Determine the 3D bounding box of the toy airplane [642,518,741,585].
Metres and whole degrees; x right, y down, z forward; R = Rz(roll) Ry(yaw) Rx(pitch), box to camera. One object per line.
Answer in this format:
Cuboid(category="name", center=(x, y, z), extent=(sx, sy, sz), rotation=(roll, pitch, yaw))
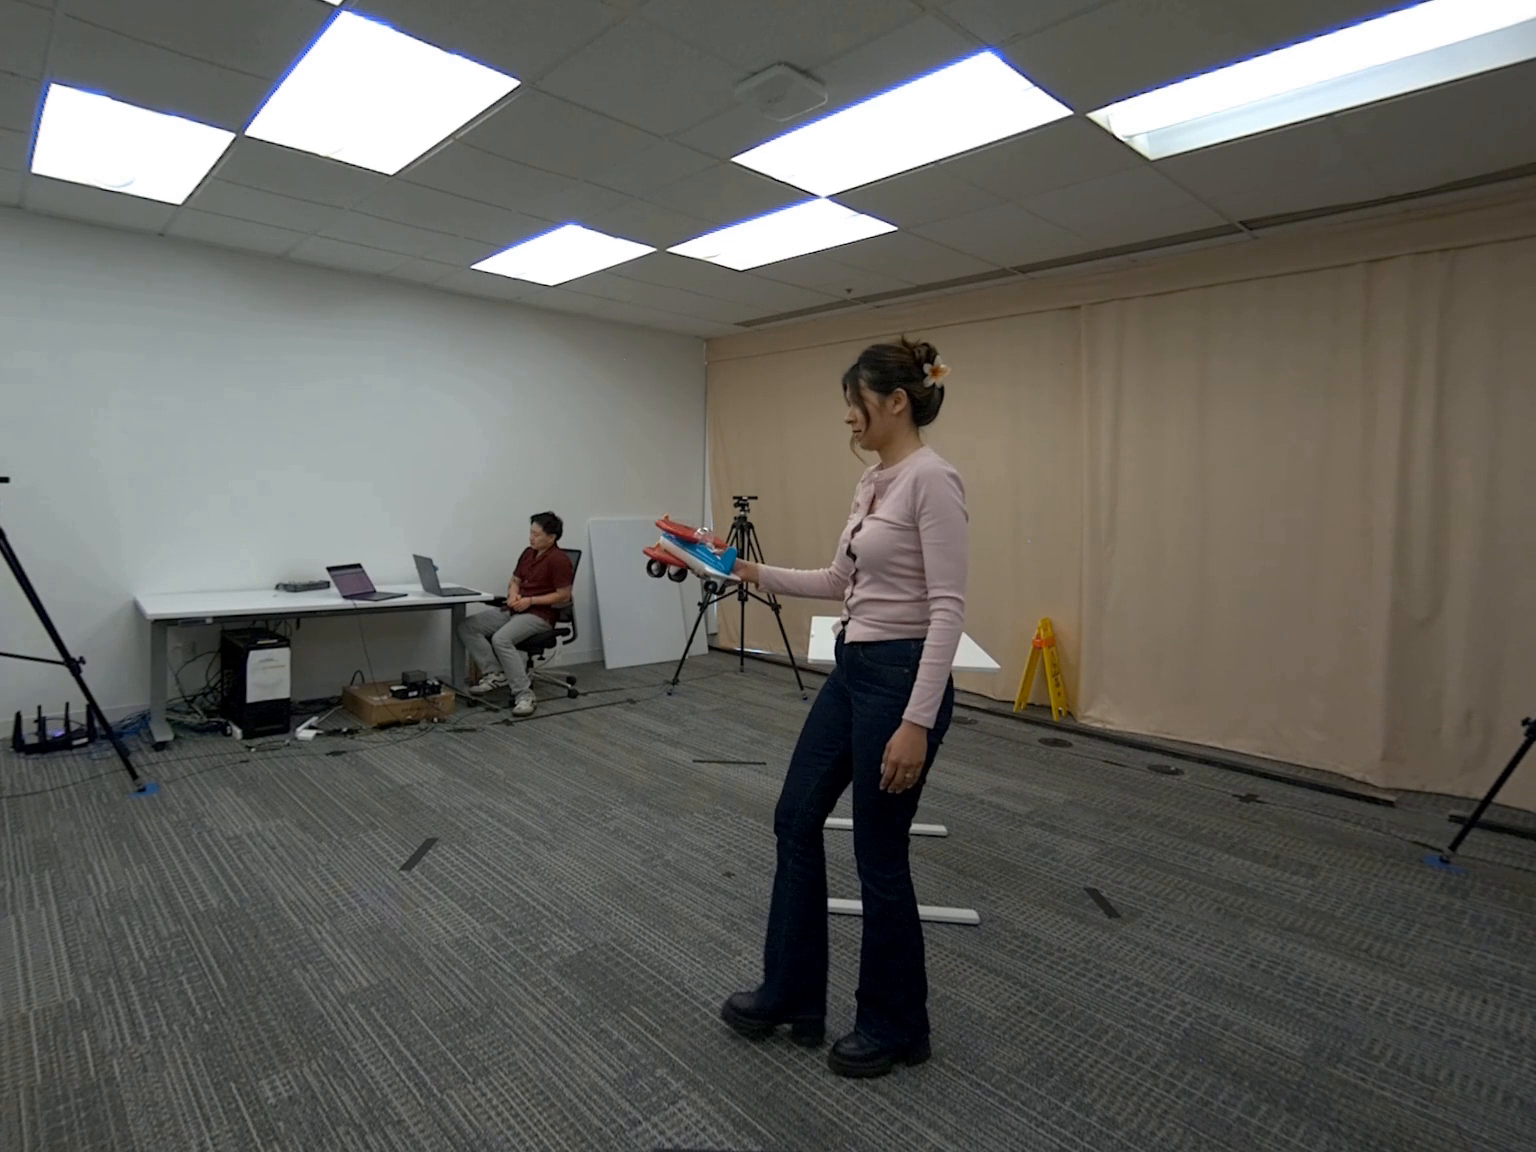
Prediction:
Cuboid(category="toy airplane", center=(-0.187, -0.043, 2.234), extent=(0.262, 0.156, 0.248), rotation=(15, -2, 10))
